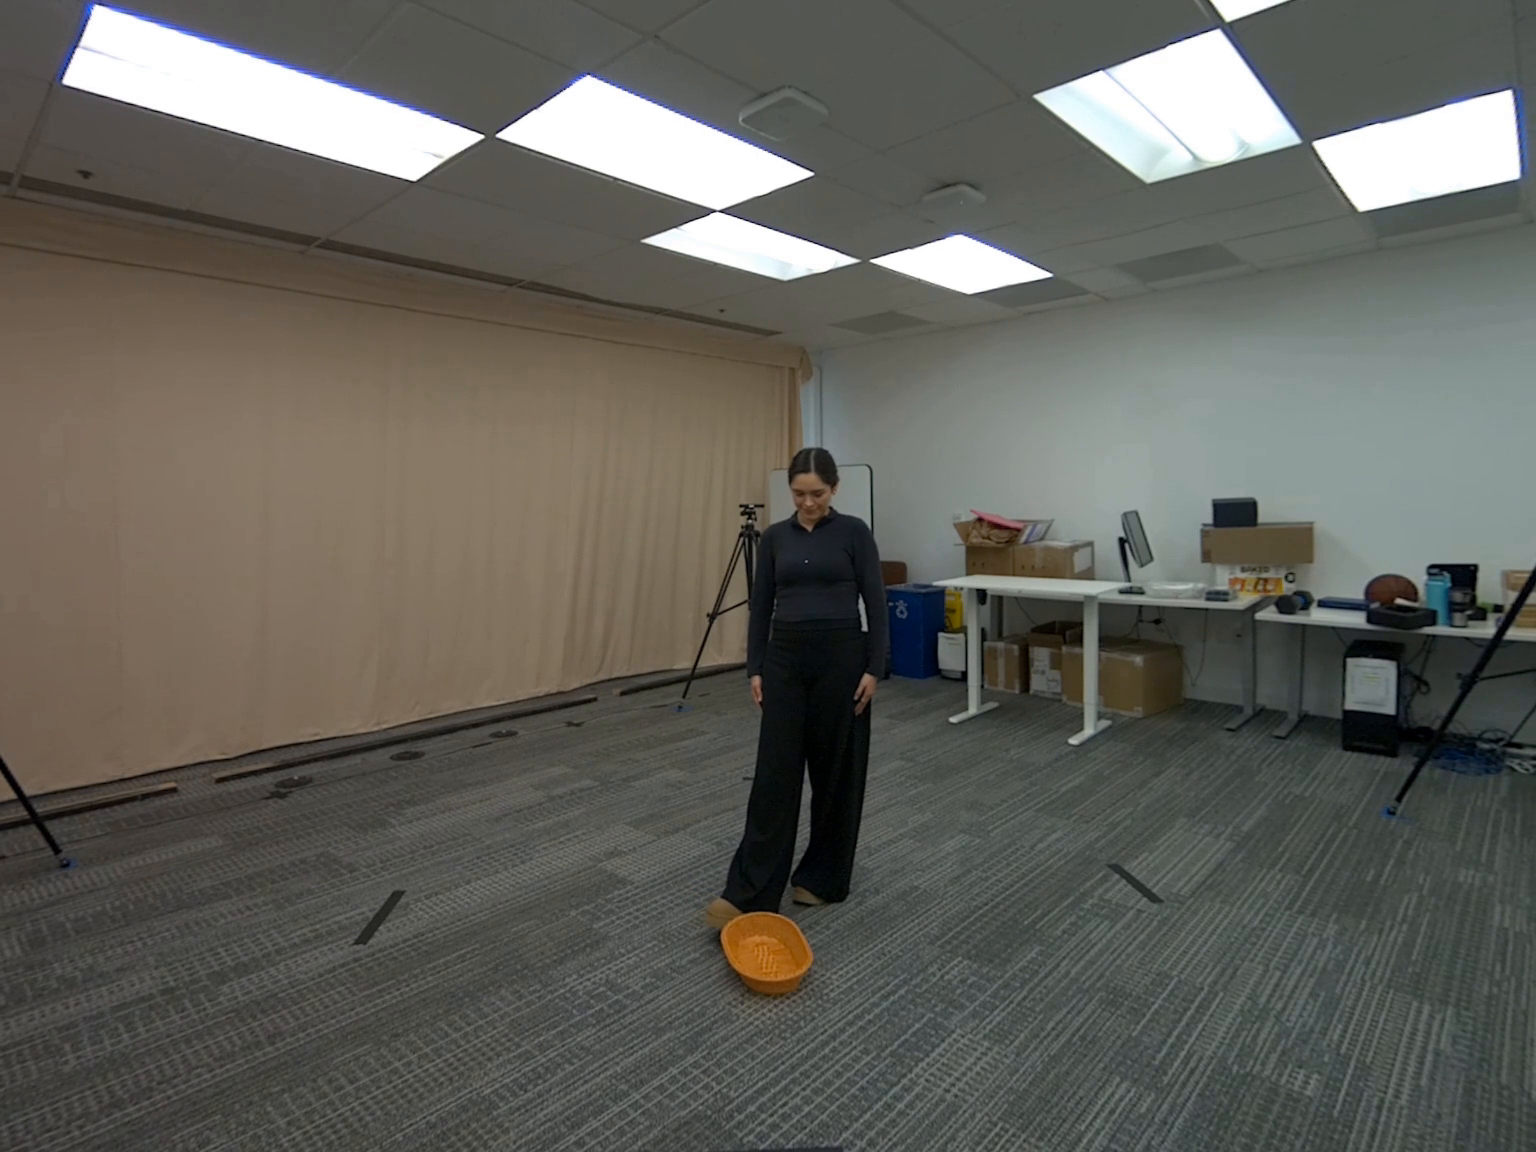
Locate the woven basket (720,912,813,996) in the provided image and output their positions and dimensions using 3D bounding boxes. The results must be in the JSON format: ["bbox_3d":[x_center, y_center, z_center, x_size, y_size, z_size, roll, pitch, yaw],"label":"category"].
[{"bbox_3d":[-0.004,1.127,2.522,0.249,0.073,0.356,-3,9,-12],"label":"woven basket"}]
